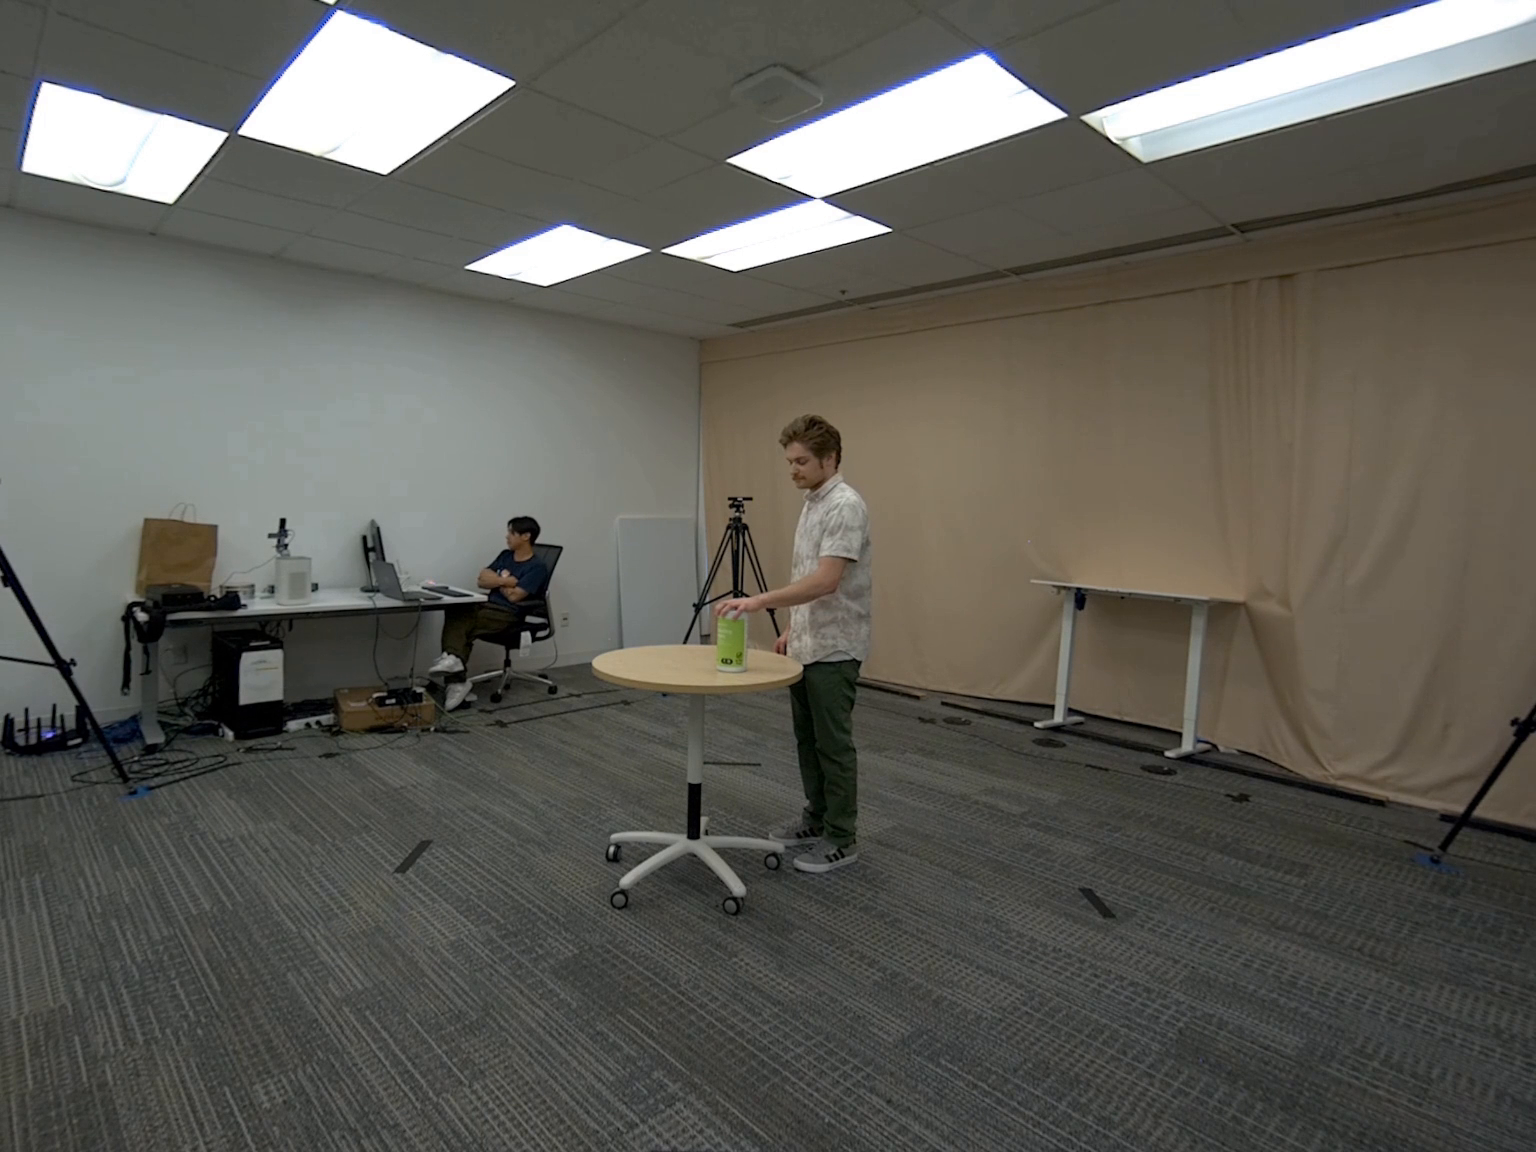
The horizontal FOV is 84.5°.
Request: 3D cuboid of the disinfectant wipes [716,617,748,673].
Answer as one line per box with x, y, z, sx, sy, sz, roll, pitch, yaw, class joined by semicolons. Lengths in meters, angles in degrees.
-0.130;0.225;2.953;0.118;0.217;0.118;2;5;-2;disinfectant wipes
